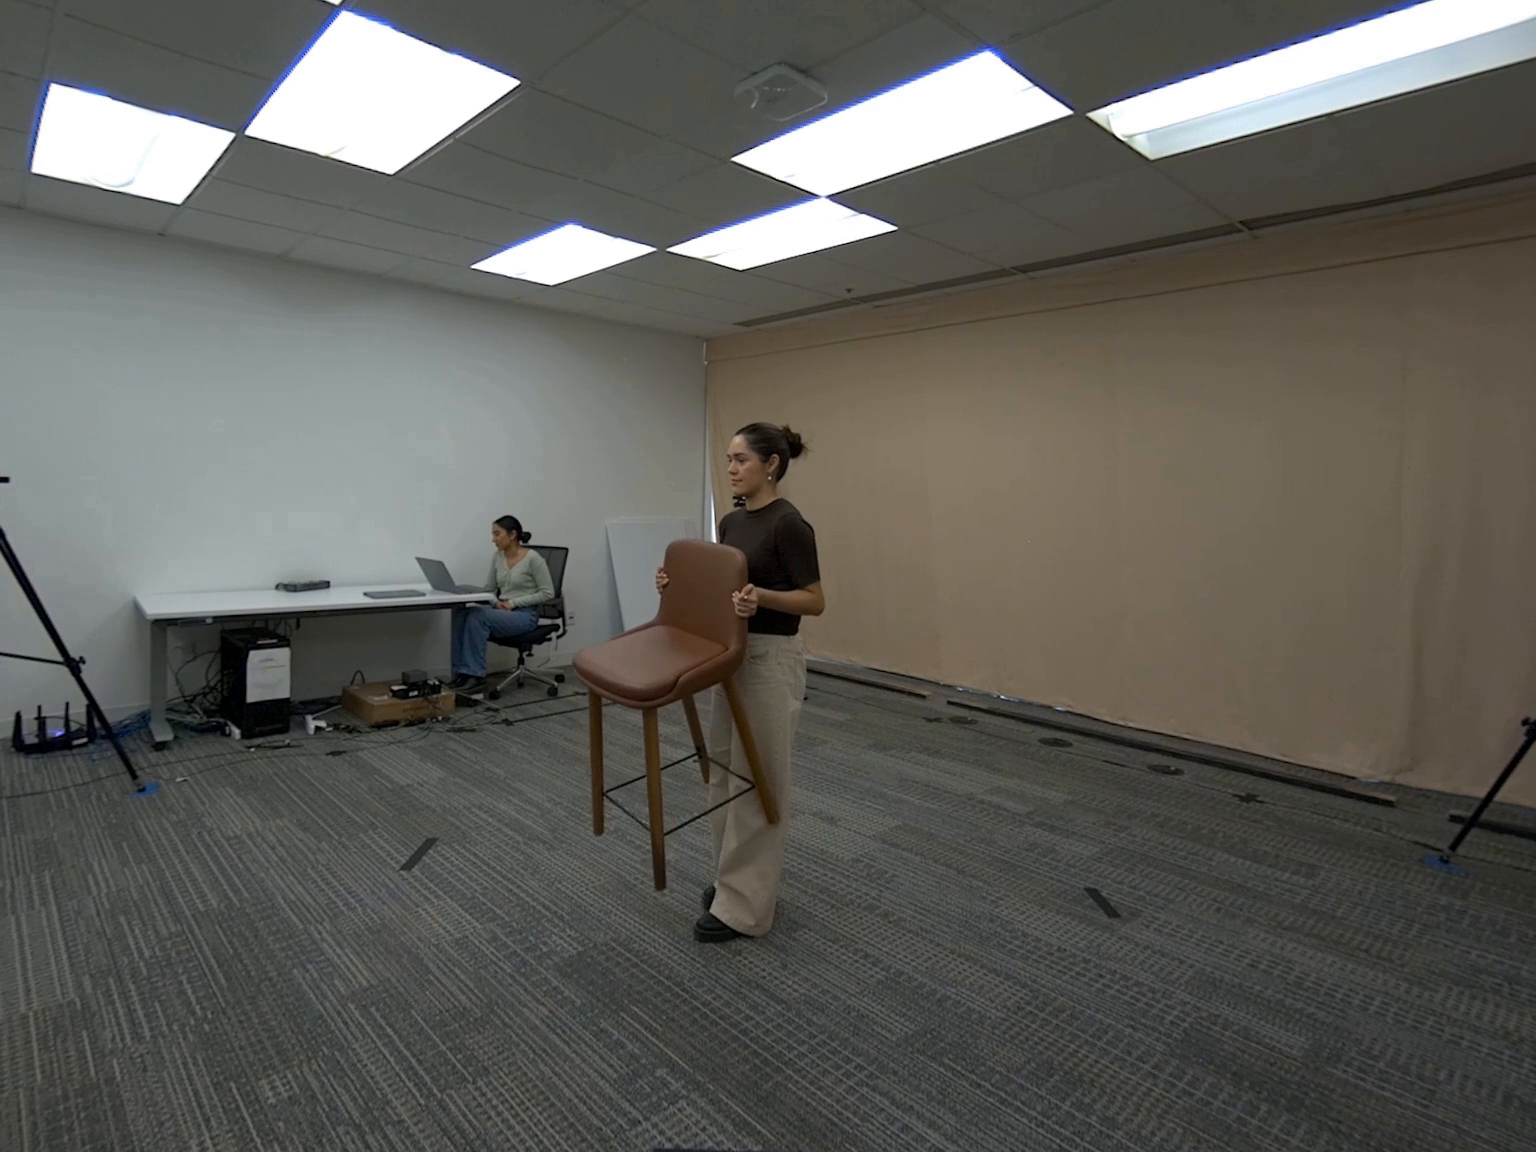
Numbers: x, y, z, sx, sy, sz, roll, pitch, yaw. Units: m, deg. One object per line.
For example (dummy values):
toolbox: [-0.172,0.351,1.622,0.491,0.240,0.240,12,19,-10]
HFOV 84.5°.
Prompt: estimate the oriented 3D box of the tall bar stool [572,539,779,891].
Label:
tall bar stool: [-0.304,0.386,2.528,0.460,0.880,0.469,-14,17,-35]
